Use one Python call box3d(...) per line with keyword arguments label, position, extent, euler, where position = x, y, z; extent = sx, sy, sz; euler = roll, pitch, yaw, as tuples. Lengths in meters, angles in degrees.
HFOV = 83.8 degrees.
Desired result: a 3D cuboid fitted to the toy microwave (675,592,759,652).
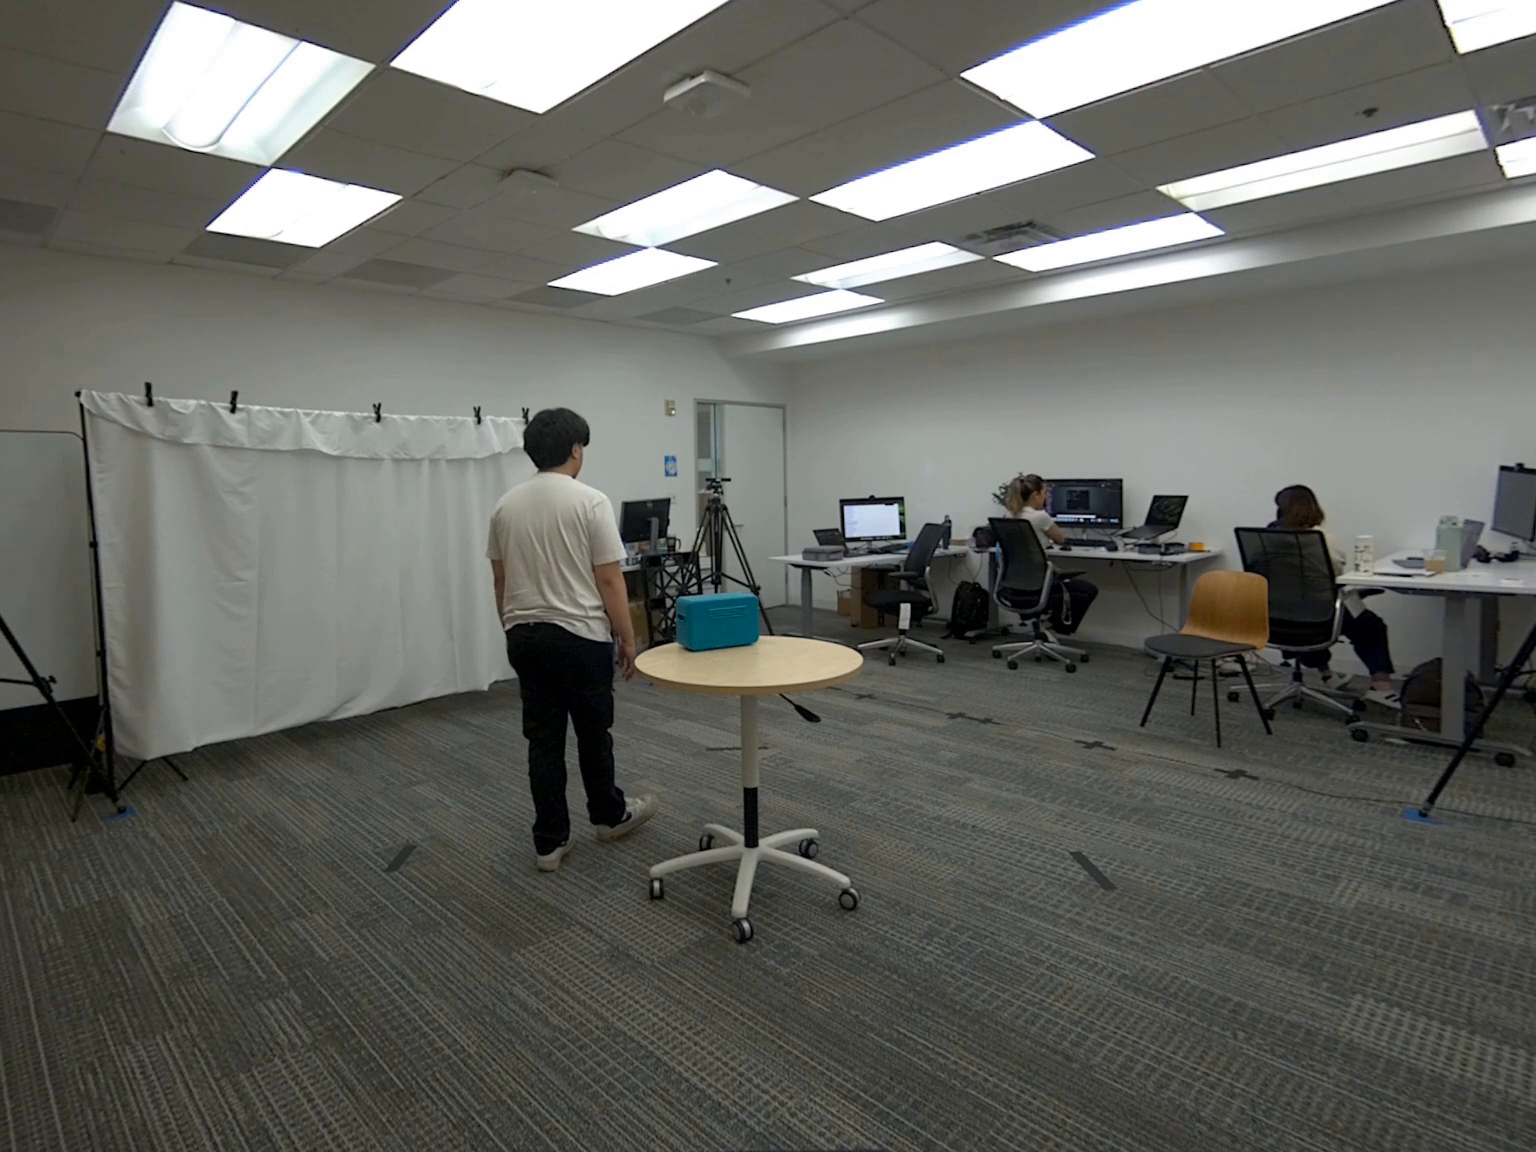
box3d(label="toy microwave", position=(-0.187, 0.160, 3.094), extent=(0.280, 0.183, 0.156), euler=(-4, 6, -27))
